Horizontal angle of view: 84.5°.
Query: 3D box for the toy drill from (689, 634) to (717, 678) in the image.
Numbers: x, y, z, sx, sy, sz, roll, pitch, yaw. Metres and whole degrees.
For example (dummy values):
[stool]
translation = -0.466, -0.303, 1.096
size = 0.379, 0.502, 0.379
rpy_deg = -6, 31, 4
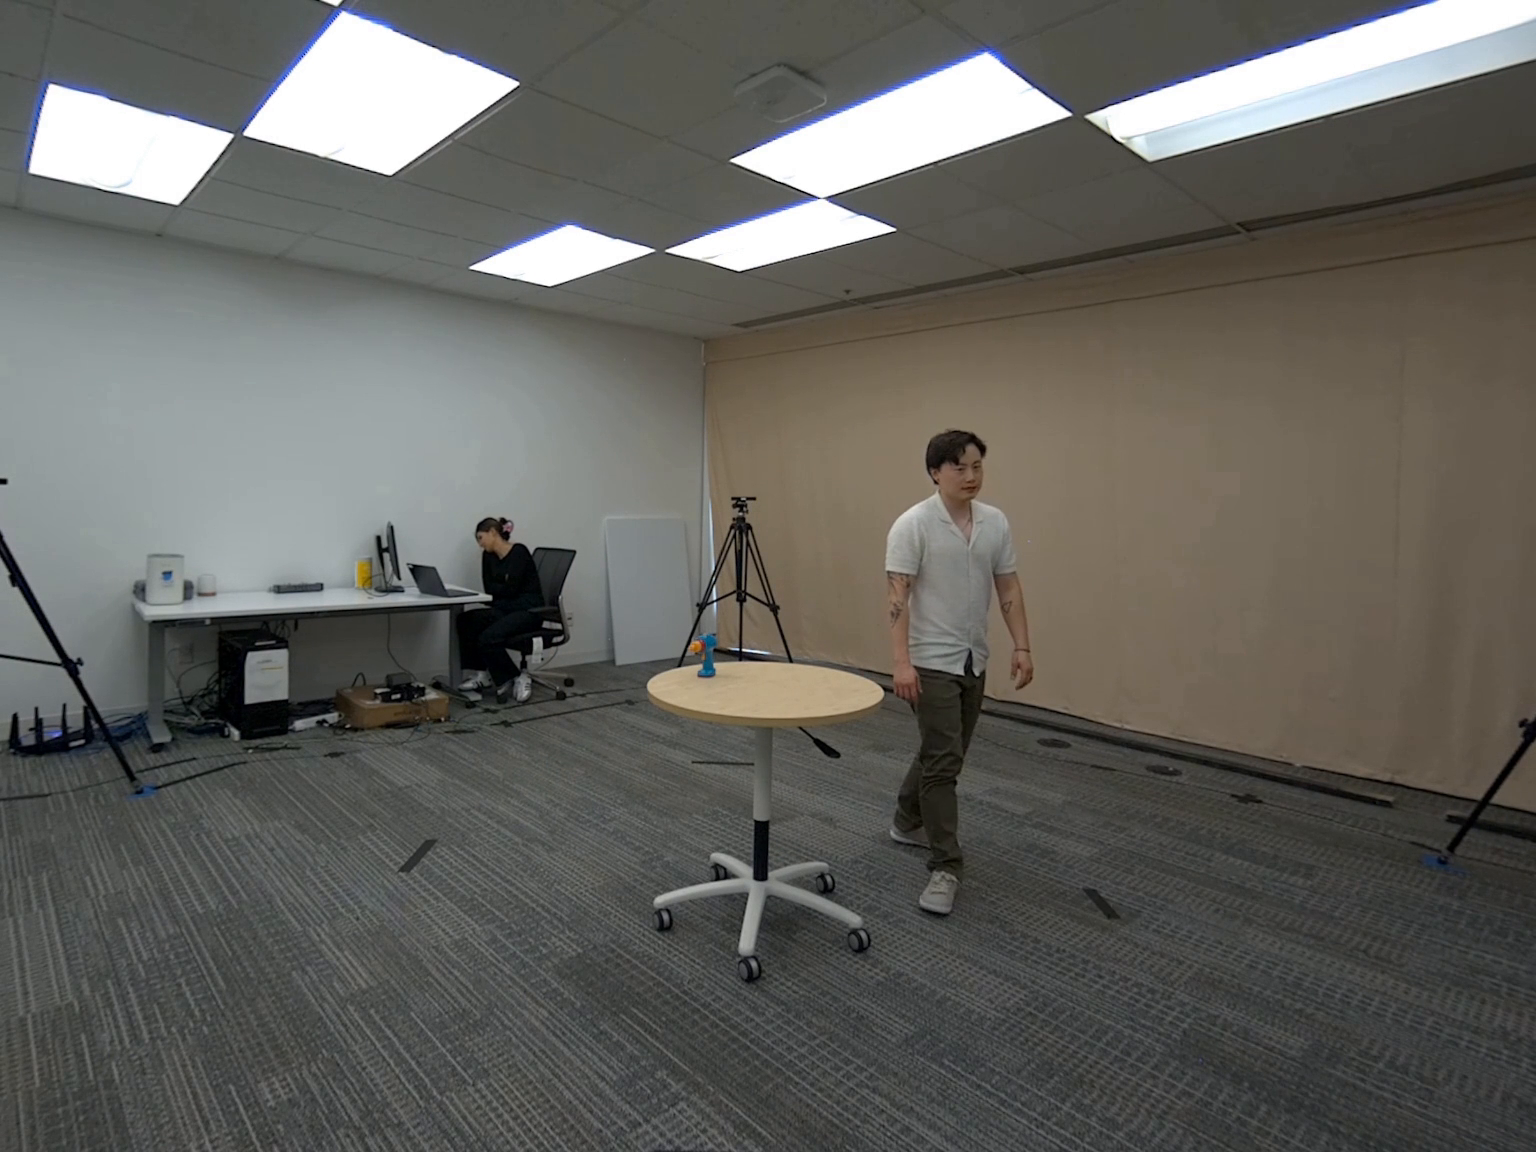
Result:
[toy drill]
translation = -0.224, 0.272, 2.825
size = 0.062, 0.145, 0.168
rpy_deg = 2, 6, 18
